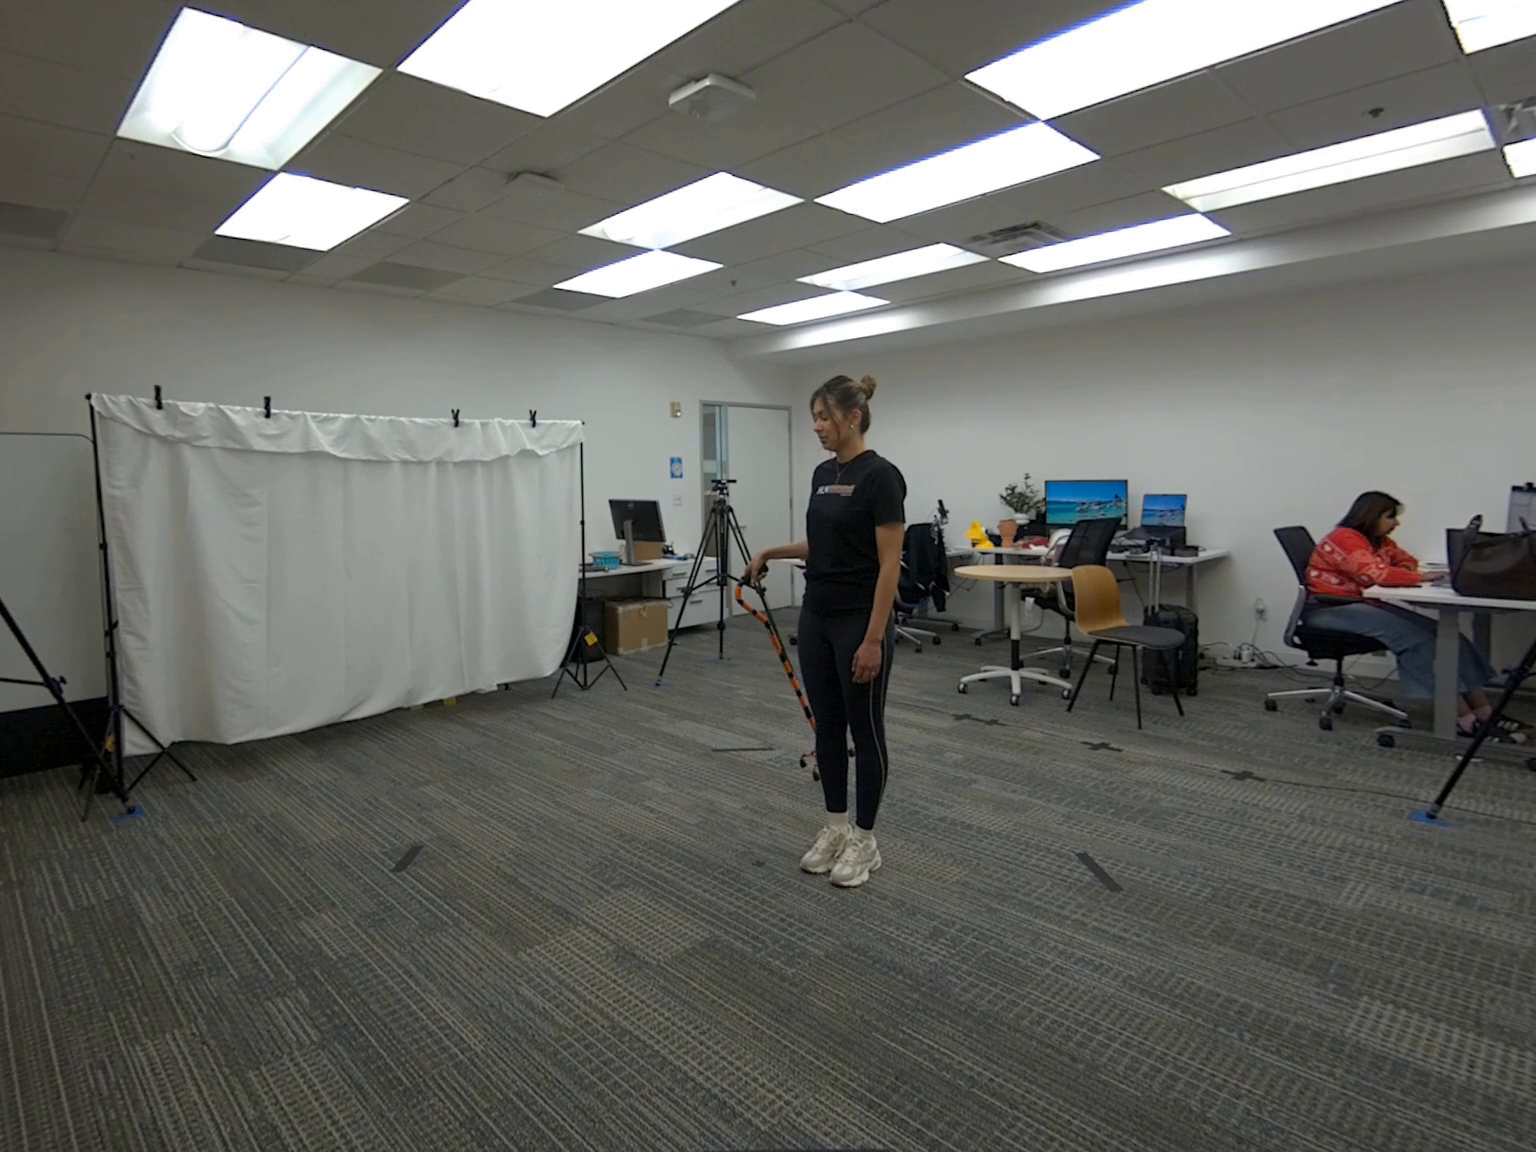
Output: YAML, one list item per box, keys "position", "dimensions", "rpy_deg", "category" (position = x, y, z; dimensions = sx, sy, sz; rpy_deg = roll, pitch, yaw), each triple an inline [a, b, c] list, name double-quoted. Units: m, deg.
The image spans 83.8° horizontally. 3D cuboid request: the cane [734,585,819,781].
- position: [0.071, 0.393, 3.378]
  dimensions: [0.205, 0.888, 0.156]
  rpy_deg: [-29, 20, -20]
  category: "cane"
